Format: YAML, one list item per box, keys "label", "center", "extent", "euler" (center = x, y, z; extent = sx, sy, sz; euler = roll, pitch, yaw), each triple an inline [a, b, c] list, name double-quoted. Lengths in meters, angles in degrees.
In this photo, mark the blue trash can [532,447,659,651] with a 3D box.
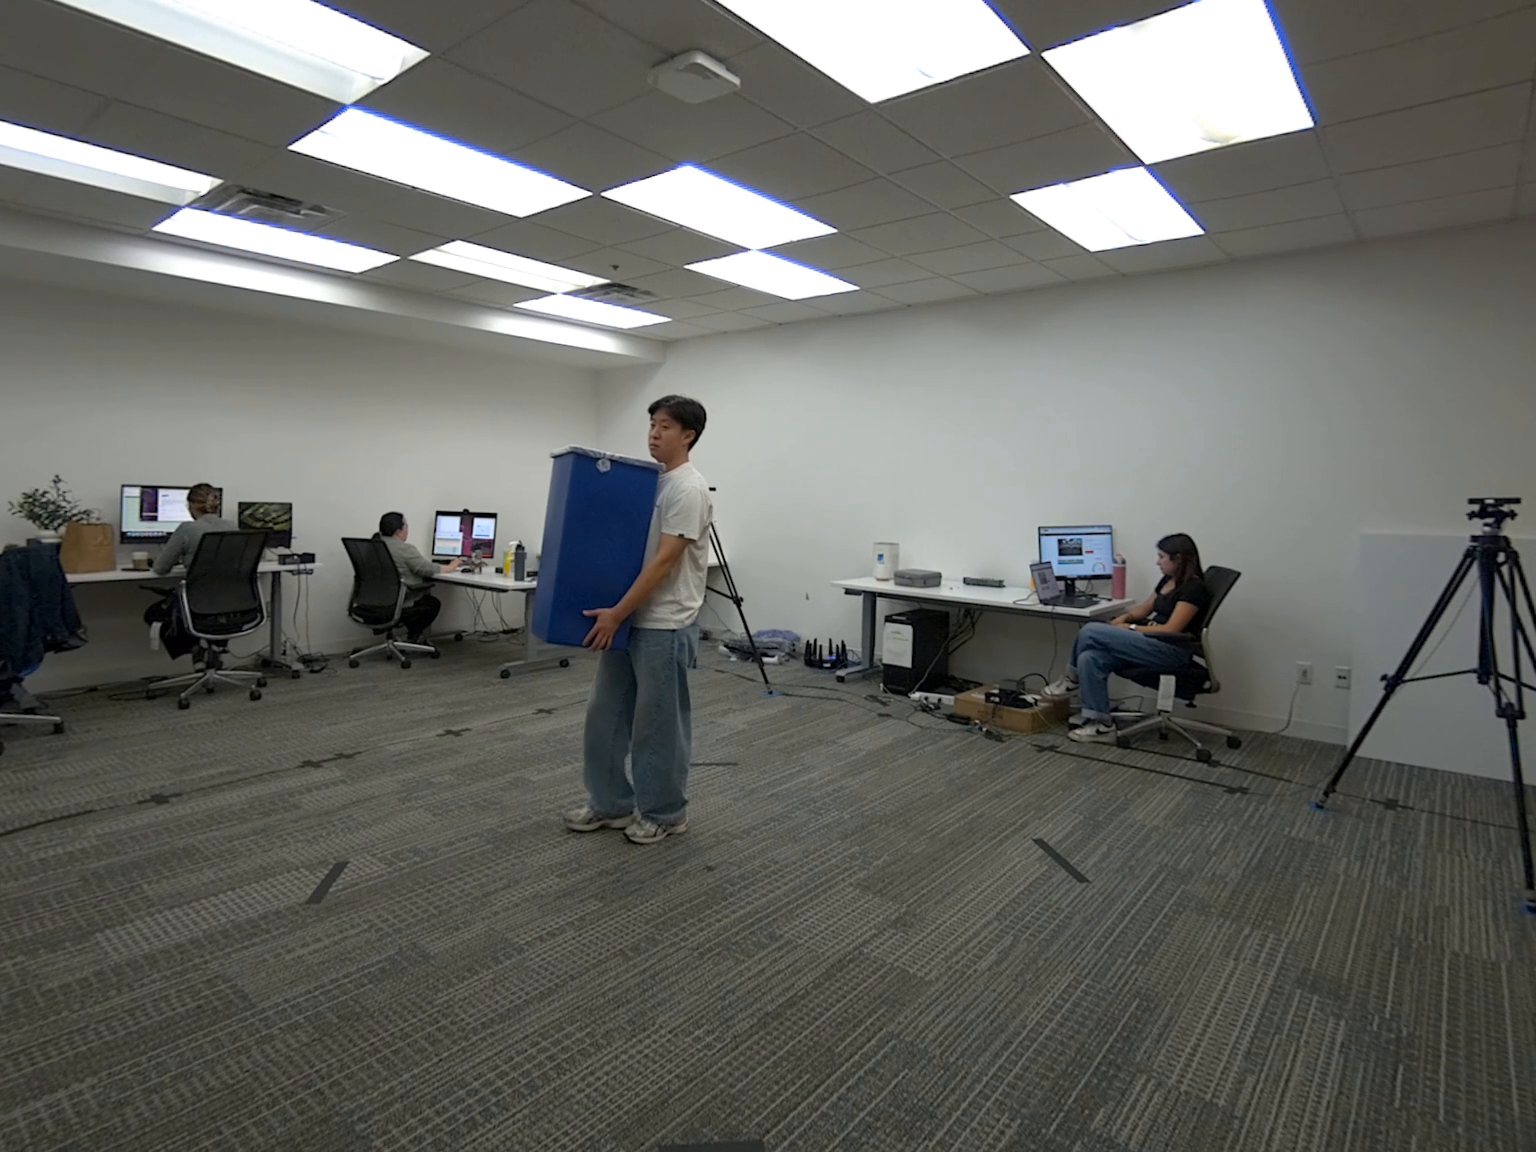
- label: "blue trash can"
  center: [-0.700, -0.110, 3.247]
  extent: [0.368, 0.715, 0.384]
  euler: [10, -2, -25]
